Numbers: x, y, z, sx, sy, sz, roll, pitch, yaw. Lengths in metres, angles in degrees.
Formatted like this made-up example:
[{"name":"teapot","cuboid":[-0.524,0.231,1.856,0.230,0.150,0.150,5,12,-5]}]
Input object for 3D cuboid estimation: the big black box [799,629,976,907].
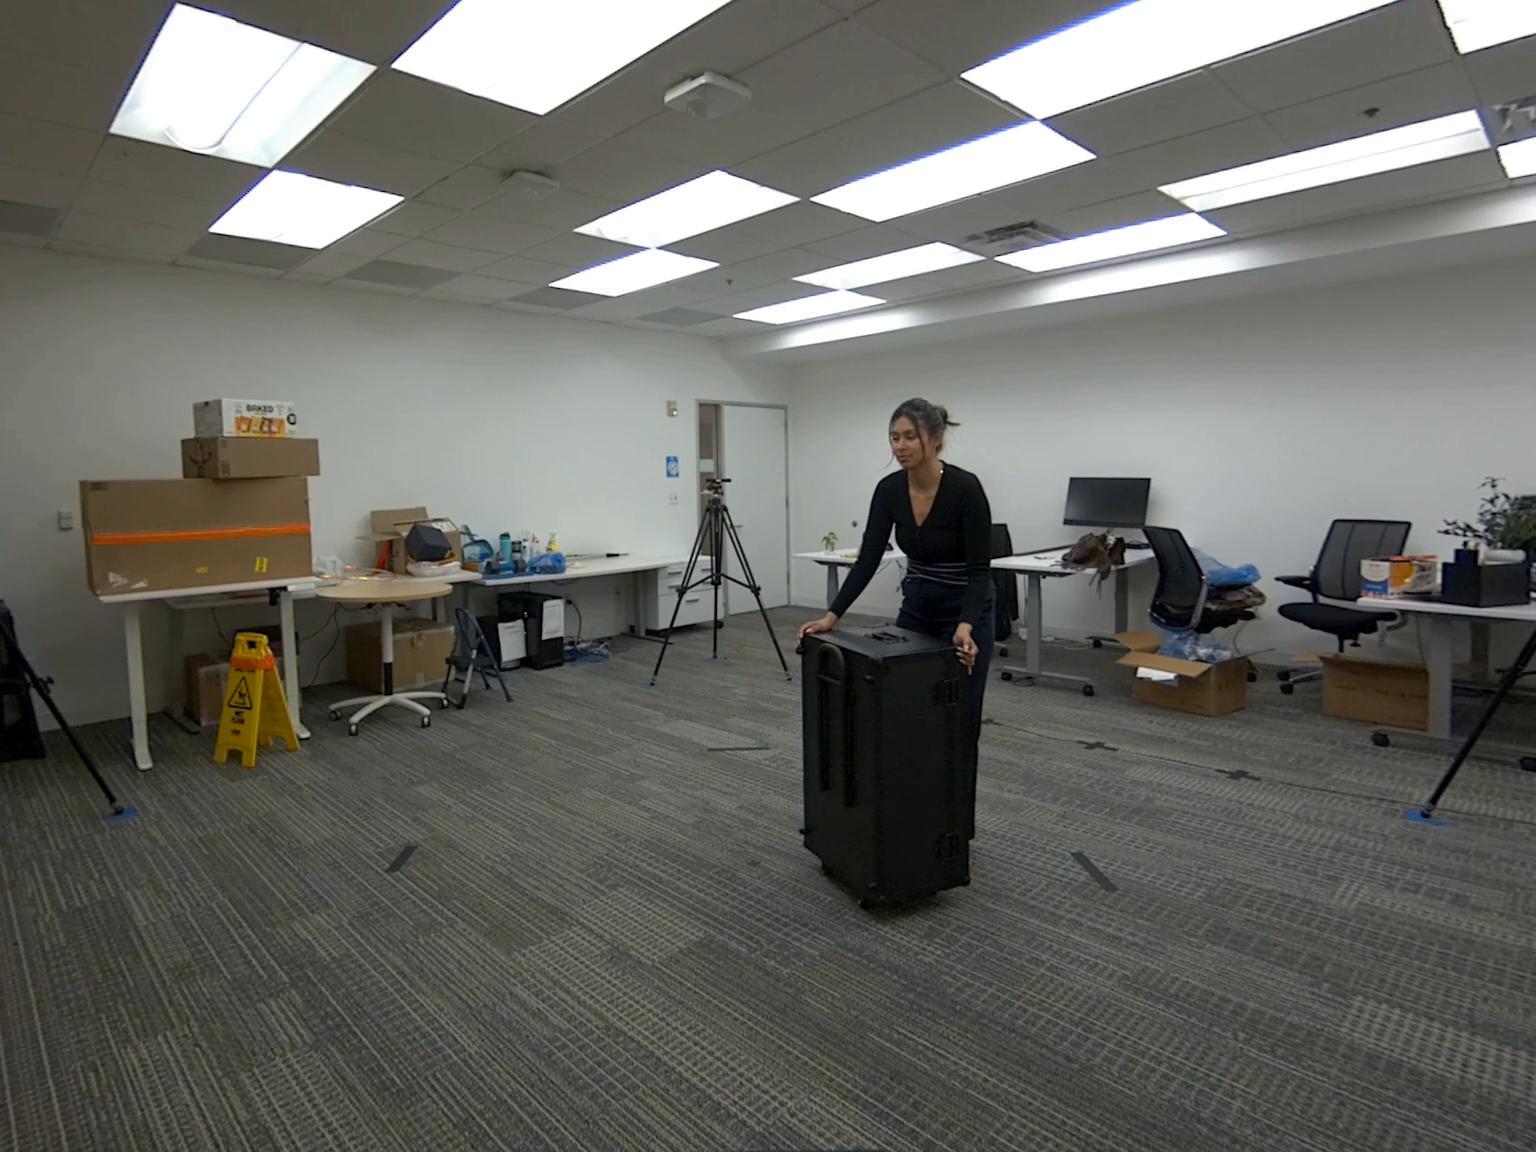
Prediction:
[{"name":"big black box","cuboid":[0.379,0.635,2.886,0.388,0.858,0.534,-3,5,-24]}]
